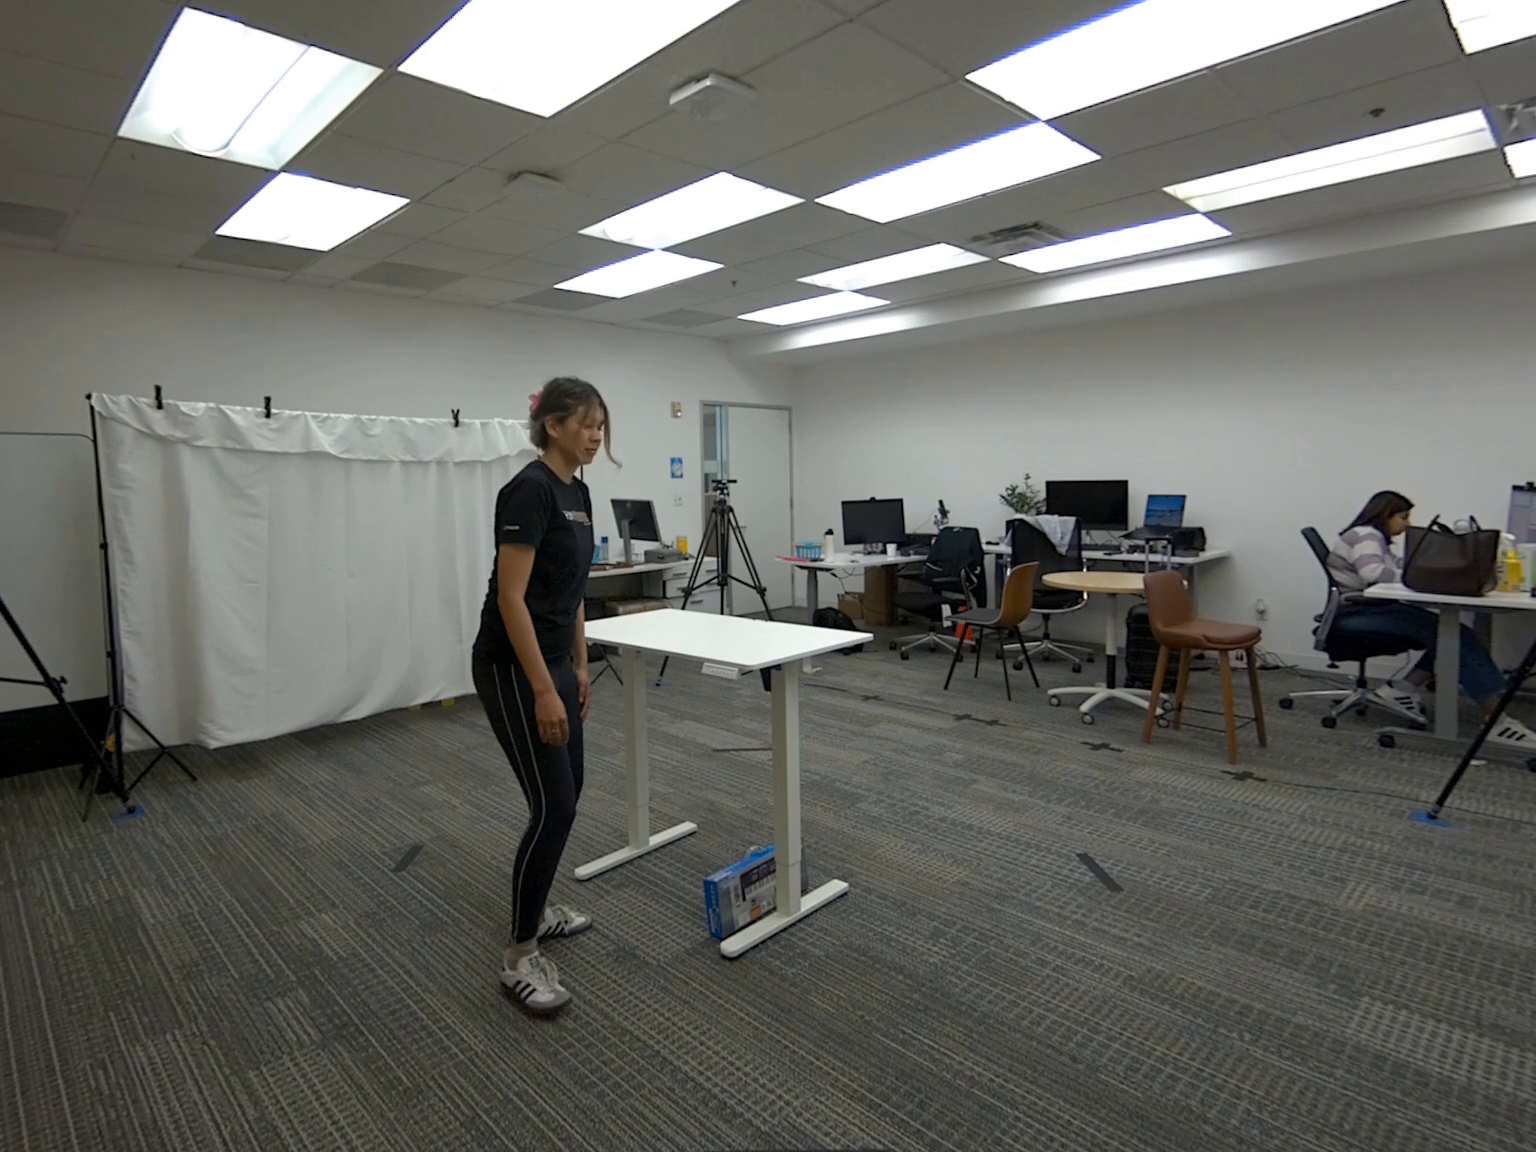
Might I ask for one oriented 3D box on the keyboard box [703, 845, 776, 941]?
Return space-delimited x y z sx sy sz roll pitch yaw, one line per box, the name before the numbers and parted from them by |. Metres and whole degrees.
keyboard box | -0.022 0.999 2.769 0.060 0.176 0.426 -8 0 42
